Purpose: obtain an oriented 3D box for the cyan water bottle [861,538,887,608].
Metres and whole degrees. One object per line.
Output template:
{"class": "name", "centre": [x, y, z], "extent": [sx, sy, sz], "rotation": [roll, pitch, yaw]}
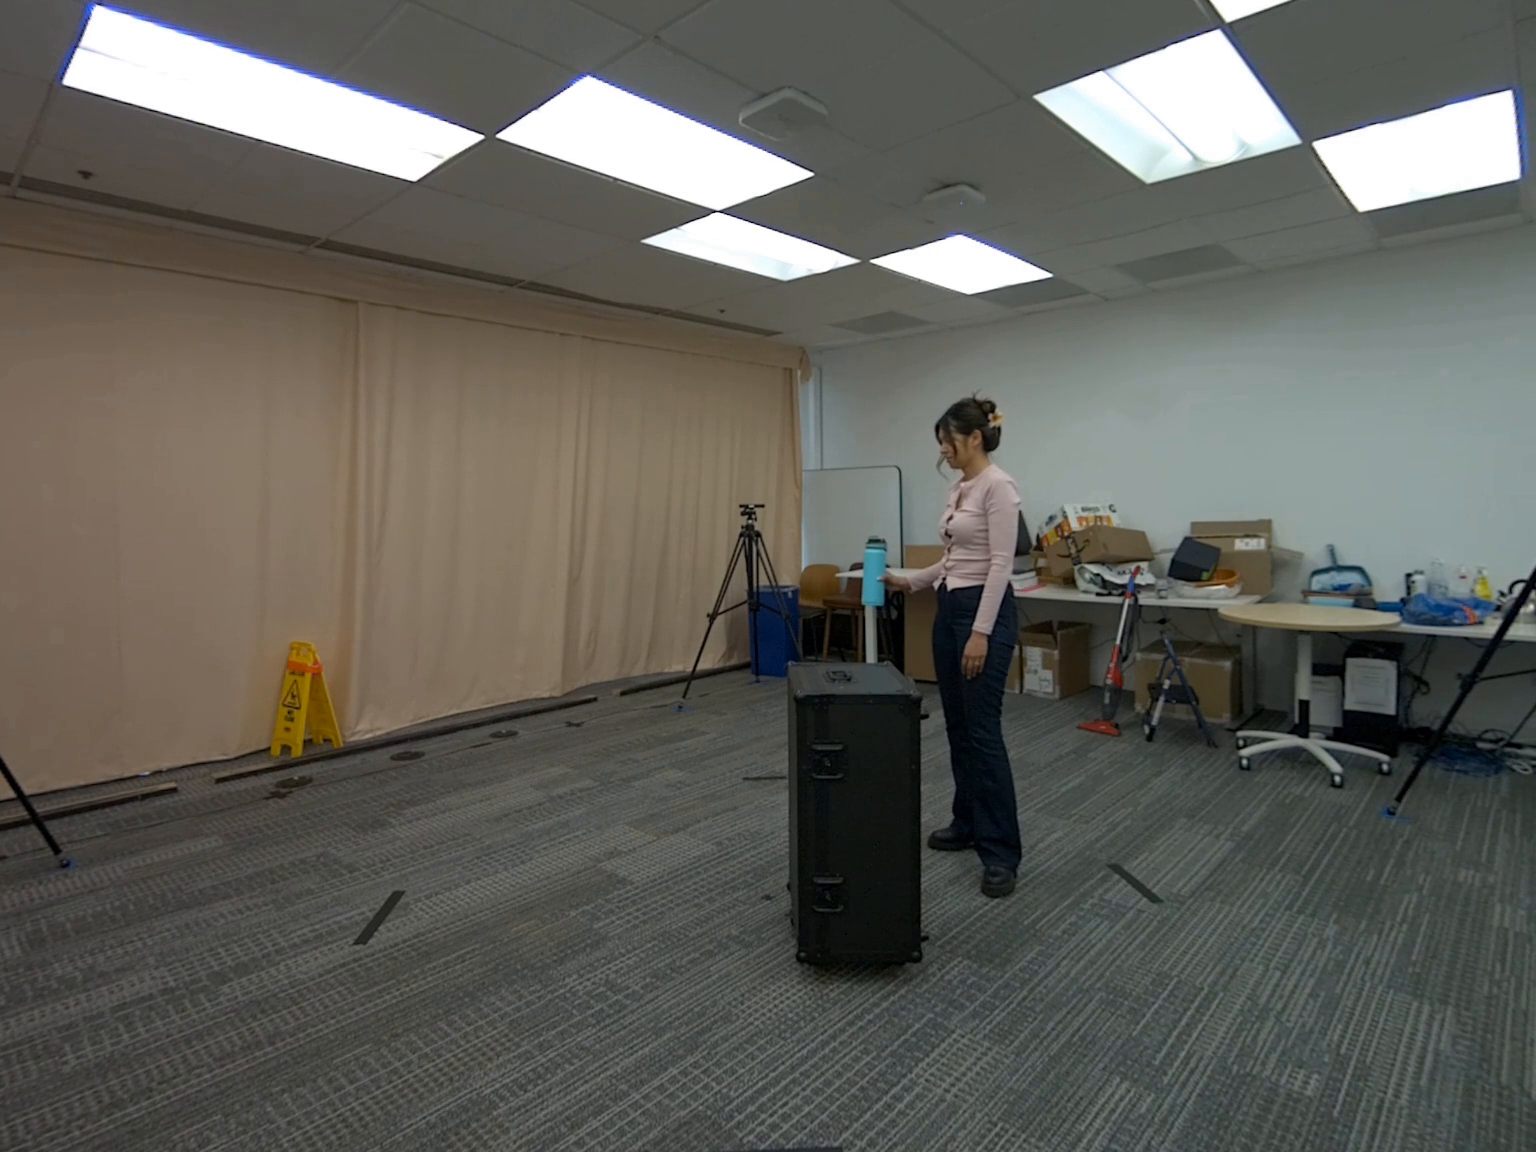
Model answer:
{"class": "cyan water bottle", "centre": [0.446, -0.021, 3.437], "extent": [0.092, 0.284, 0.092], "rotation": [3, -3, -2]}
